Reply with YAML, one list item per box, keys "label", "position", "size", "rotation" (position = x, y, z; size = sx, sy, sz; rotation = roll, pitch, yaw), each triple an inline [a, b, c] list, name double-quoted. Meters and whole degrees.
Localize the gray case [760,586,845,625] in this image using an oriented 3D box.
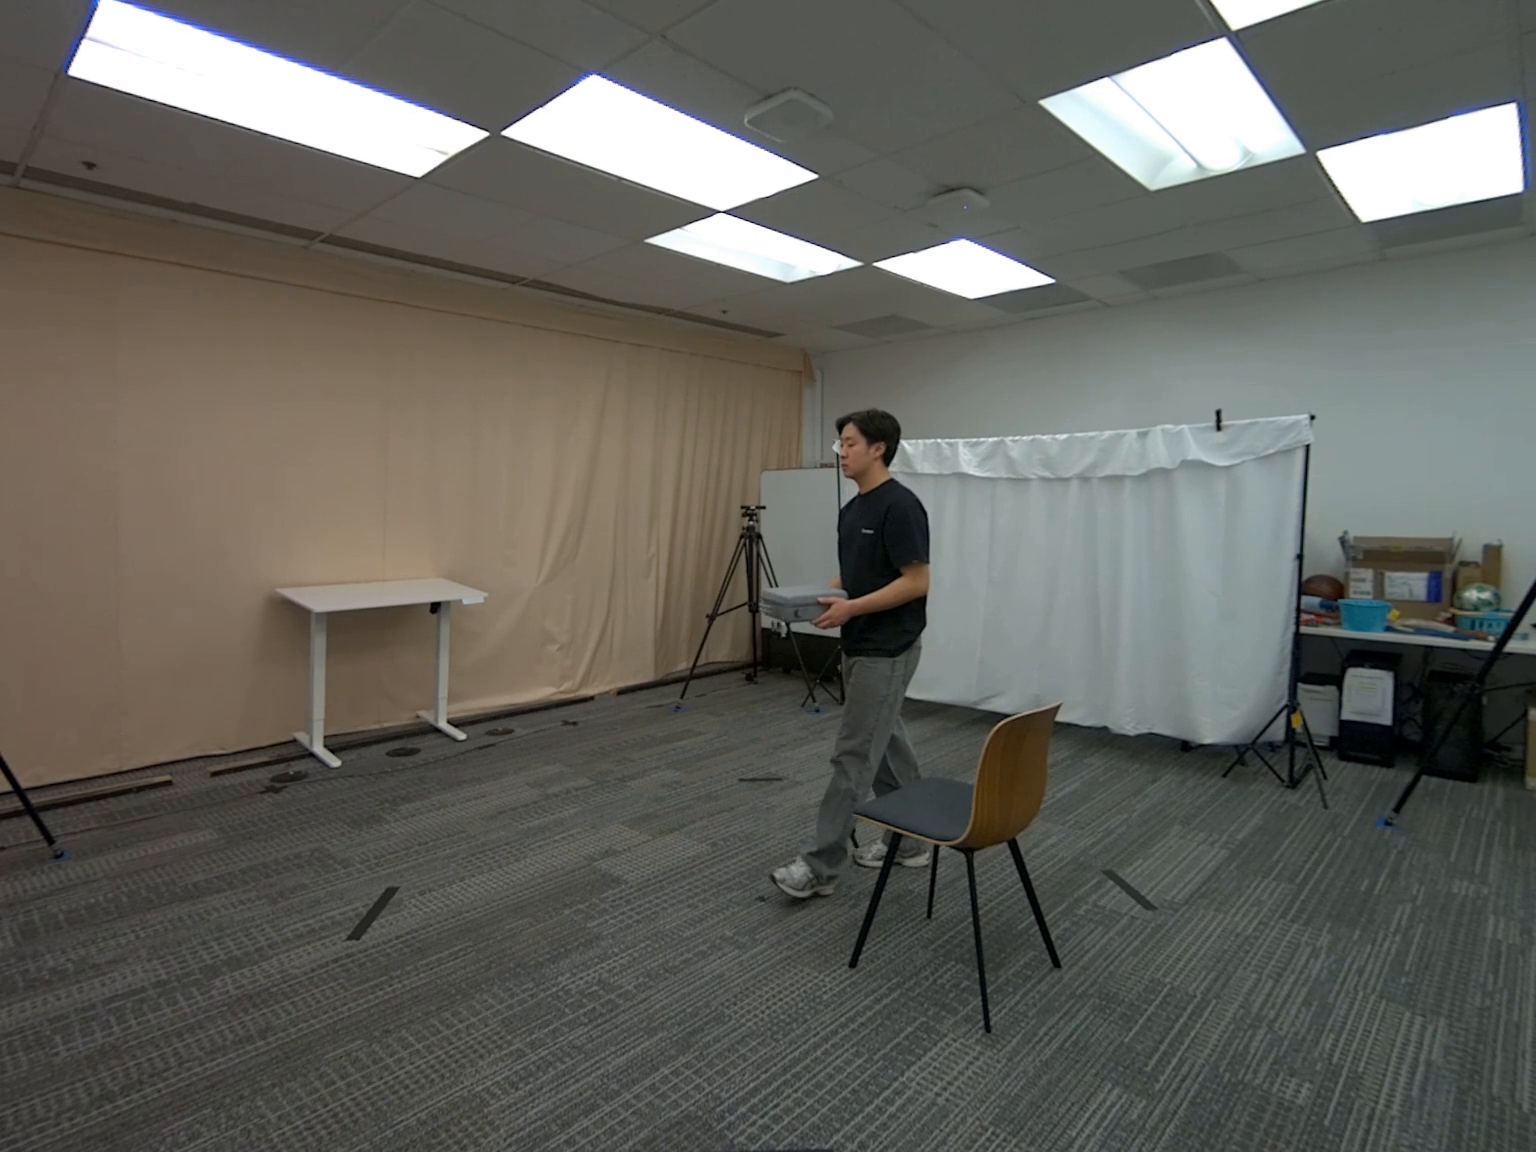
- label: "gray case"
  position: [0.114, 0.100, 3.079]
  size: [0.279, 0.102, 0.272]
  rotation: [-8, 12, -42]
